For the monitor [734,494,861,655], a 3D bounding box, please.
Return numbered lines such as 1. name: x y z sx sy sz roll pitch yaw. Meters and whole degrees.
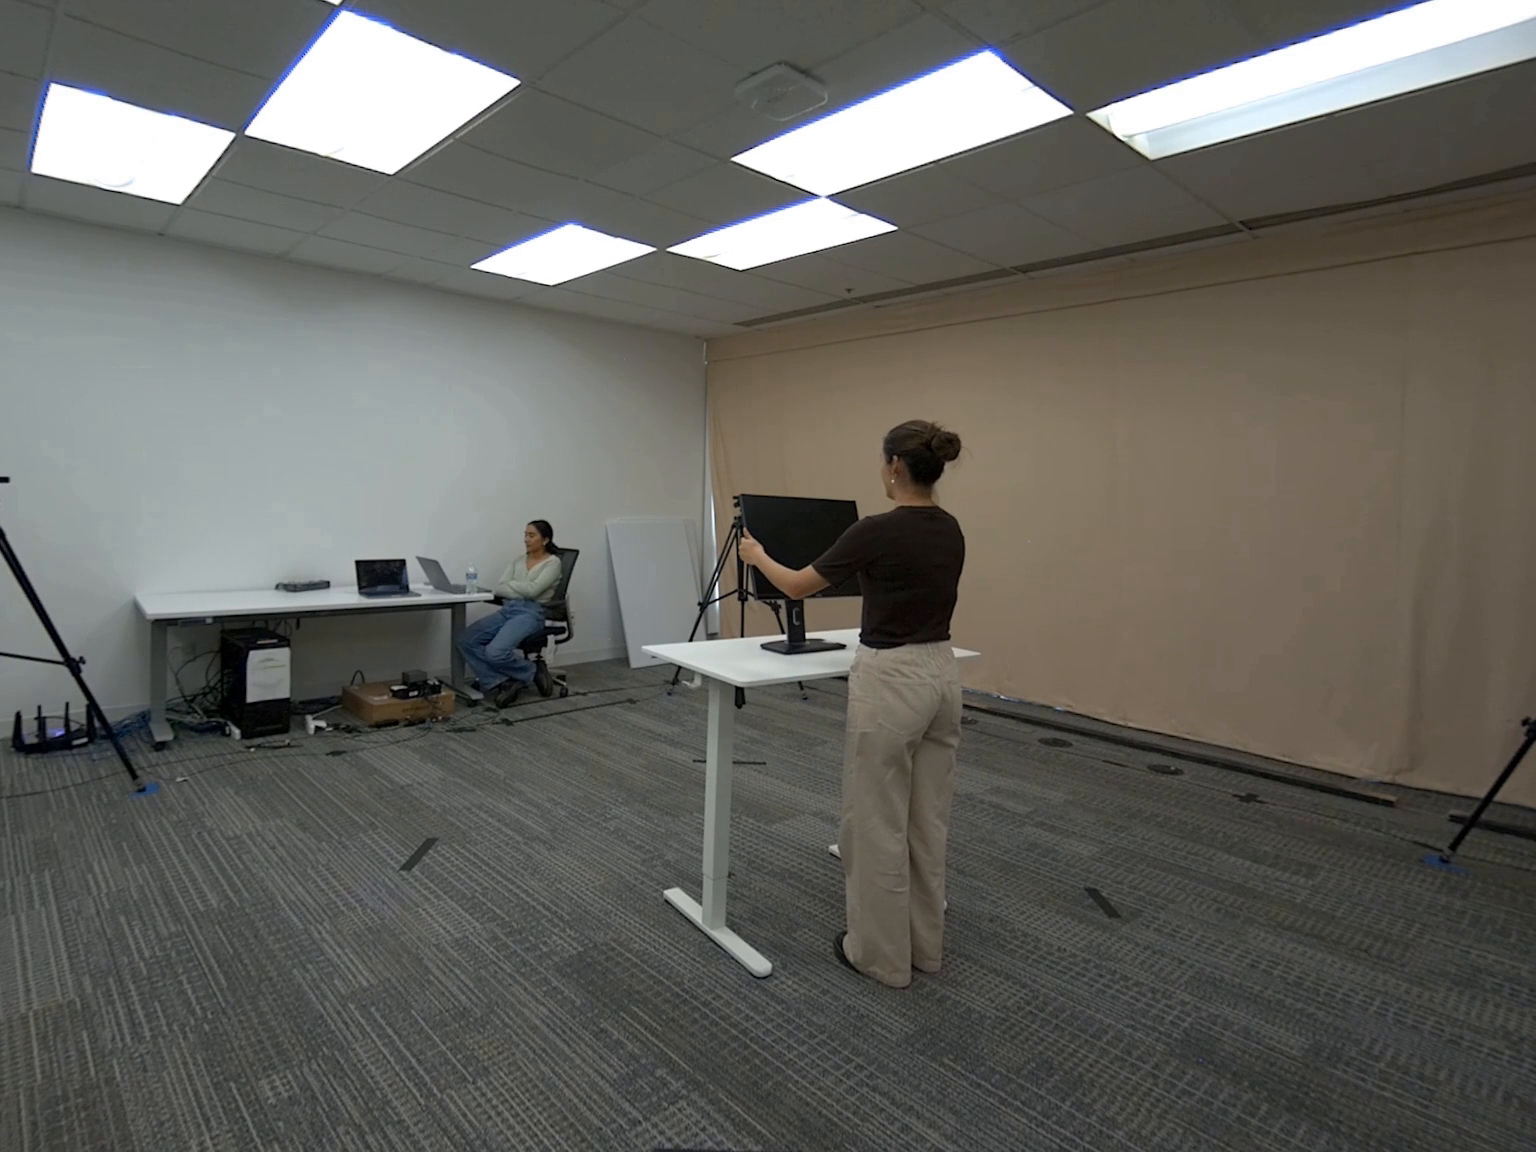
1. monitor: 0.115 -0.005 2.873 0.526 0.523 0.191 0 -1 -42
